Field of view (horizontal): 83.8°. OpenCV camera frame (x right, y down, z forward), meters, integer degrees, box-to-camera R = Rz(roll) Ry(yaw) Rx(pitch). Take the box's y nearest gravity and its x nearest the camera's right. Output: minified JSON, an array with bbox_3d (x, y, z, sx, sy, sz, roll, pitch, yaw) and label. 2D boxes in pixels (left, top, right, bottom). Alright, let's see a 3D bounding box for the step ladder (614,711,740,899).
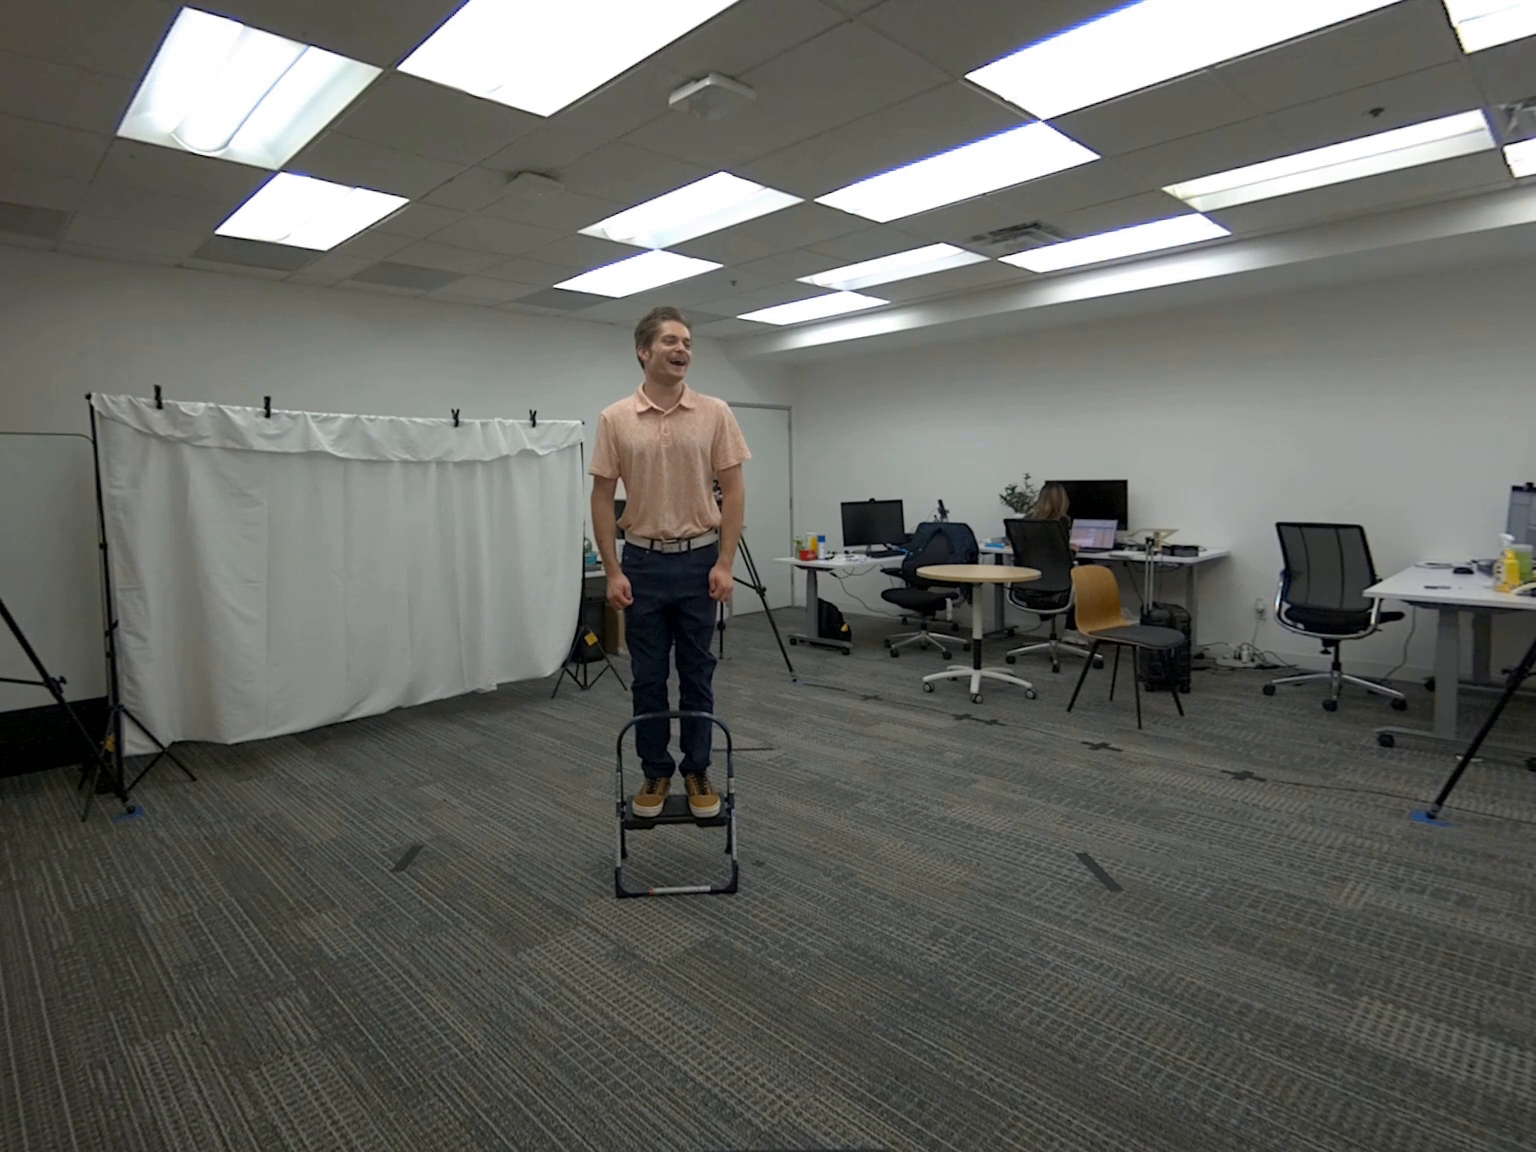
[{"bbox_3d":[-0.328,0.763,3.025,0.429,0.604,0.352,-2,4,-5],"label":"step ladder"}]
